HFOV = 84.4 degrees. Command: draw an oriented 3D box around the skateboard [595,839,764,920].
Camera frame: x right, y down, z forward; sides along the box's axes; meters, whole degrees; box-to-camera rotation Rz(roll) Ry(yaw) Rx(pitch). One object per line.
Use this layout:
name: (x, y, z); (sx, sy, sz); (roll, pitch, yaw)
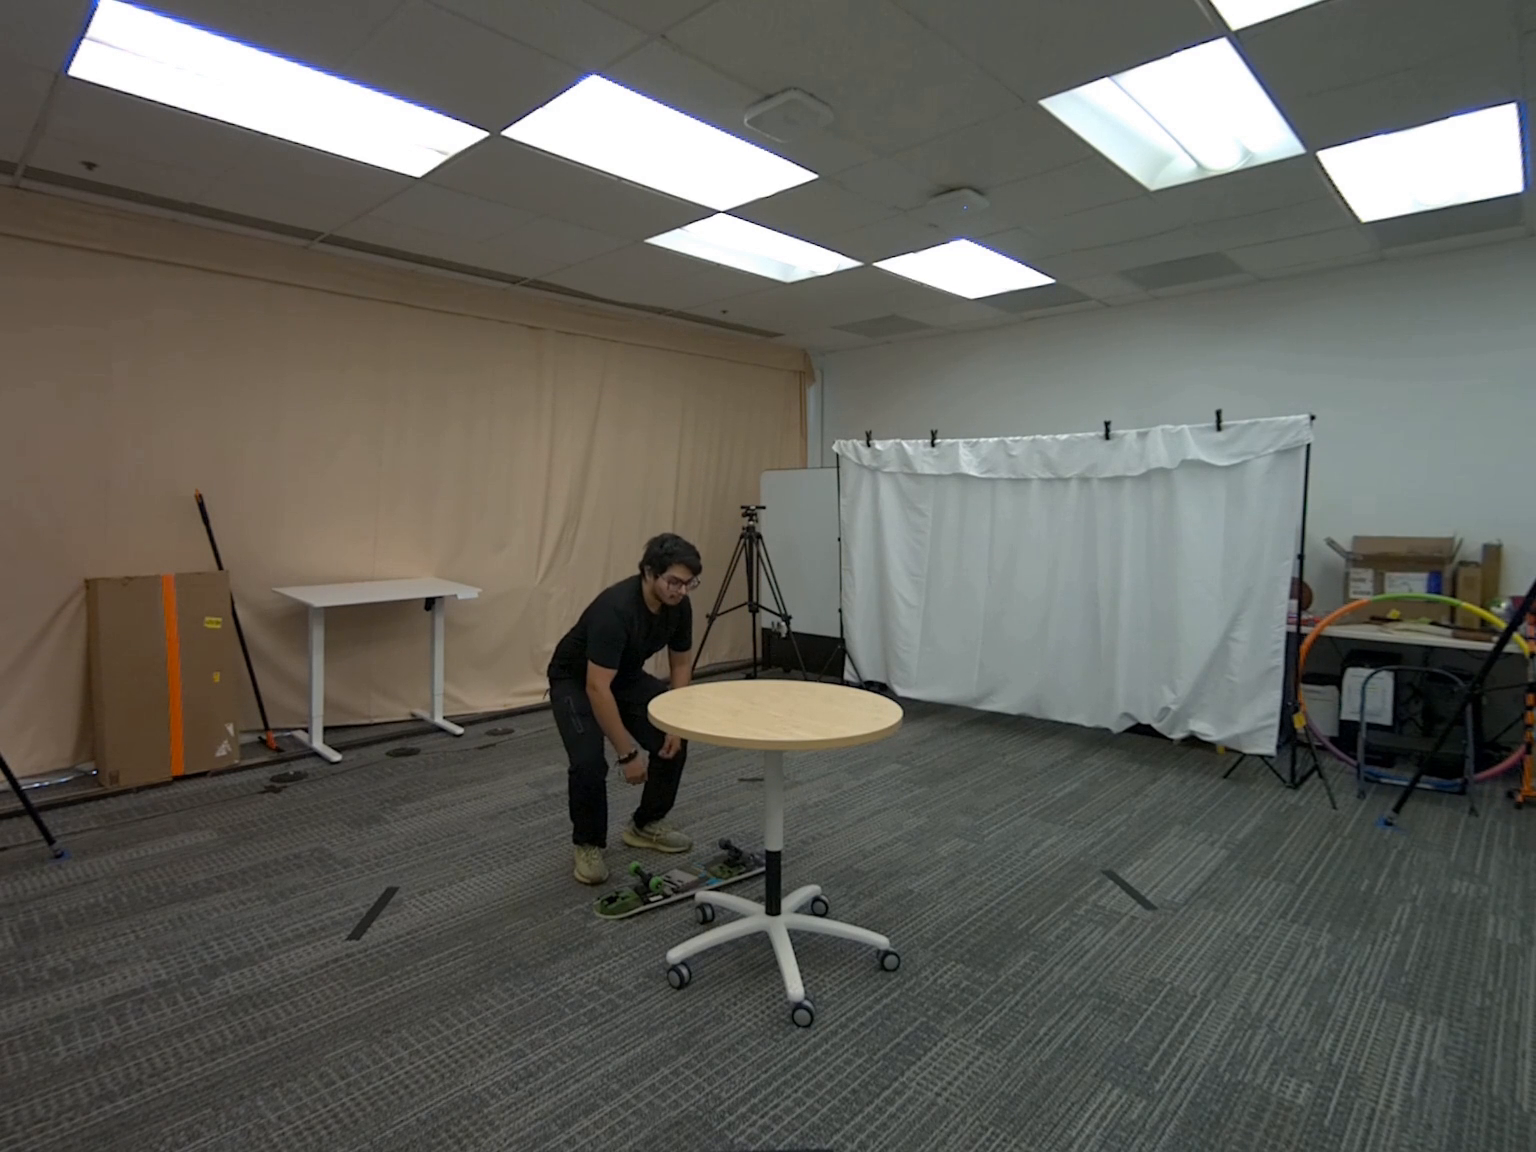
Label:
skateboard: (-0.279, 1.086, 3.092); (0.763, 0.110, 0.199); (-4, 5, -36)
